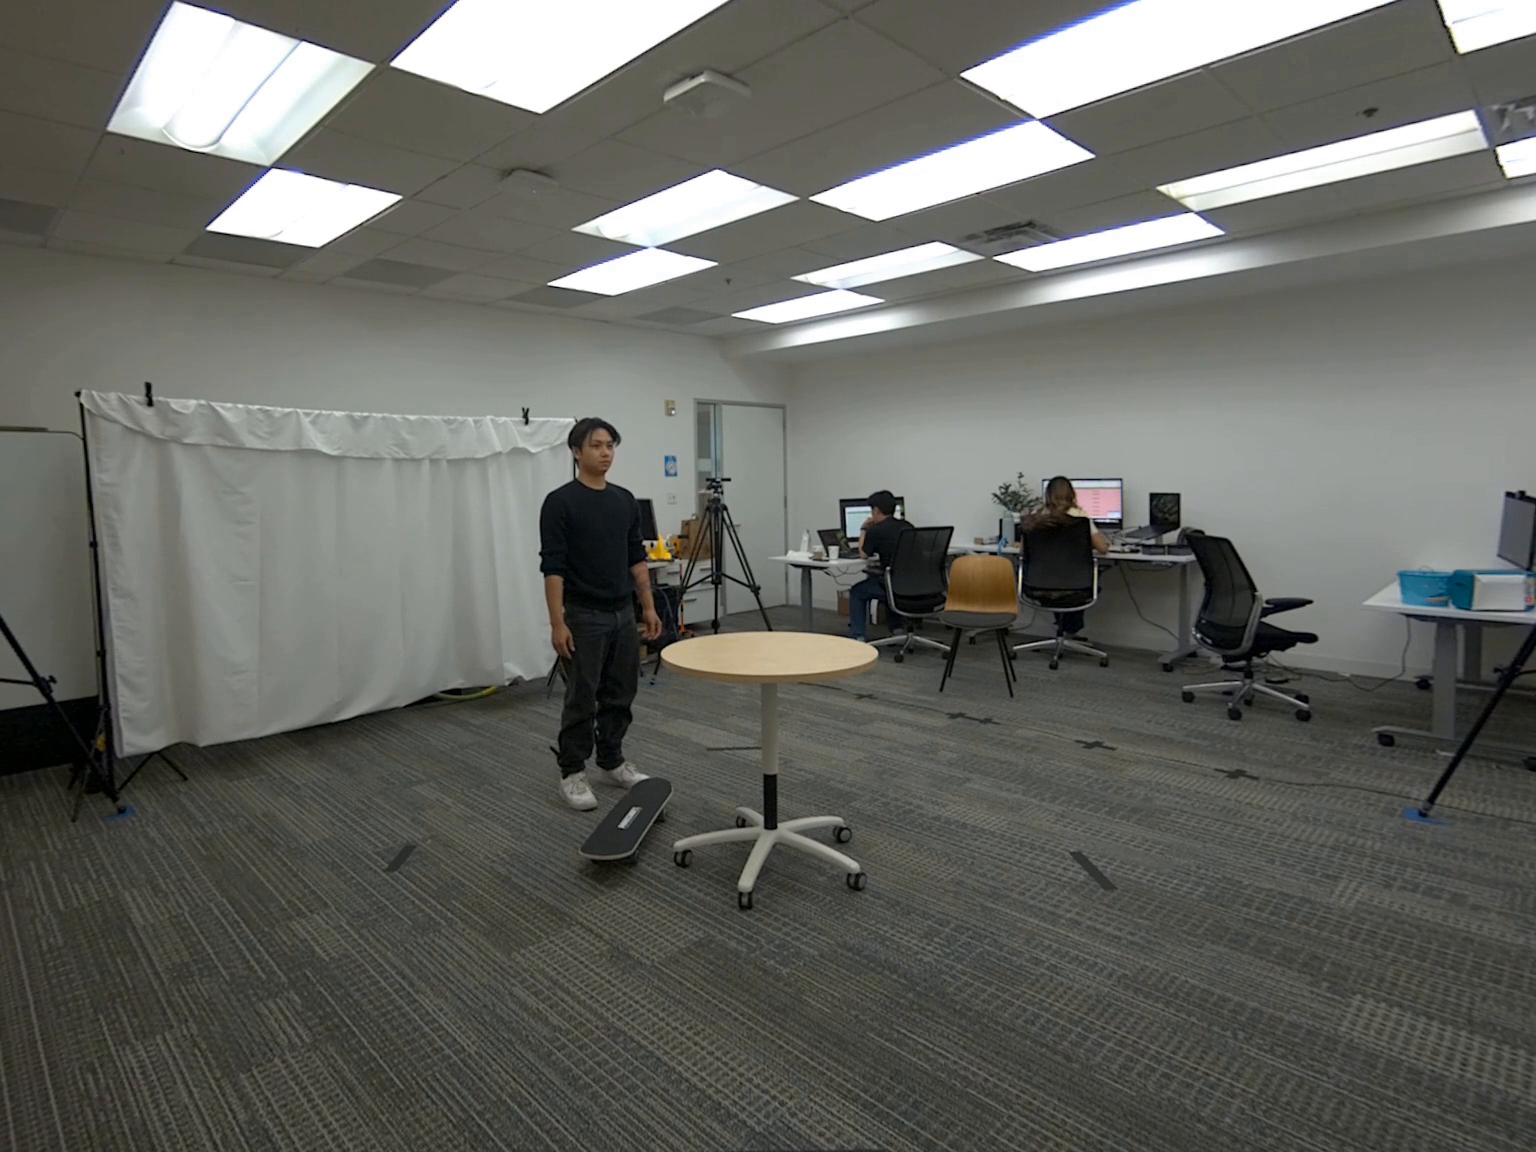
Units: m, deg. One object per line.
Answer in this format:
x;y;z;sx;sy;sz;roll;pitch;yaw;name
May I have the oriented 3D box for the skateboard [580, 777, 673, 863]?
-0.533;0.967;3.321;0.195;0.110;0.781;0;6;8;skateboard
